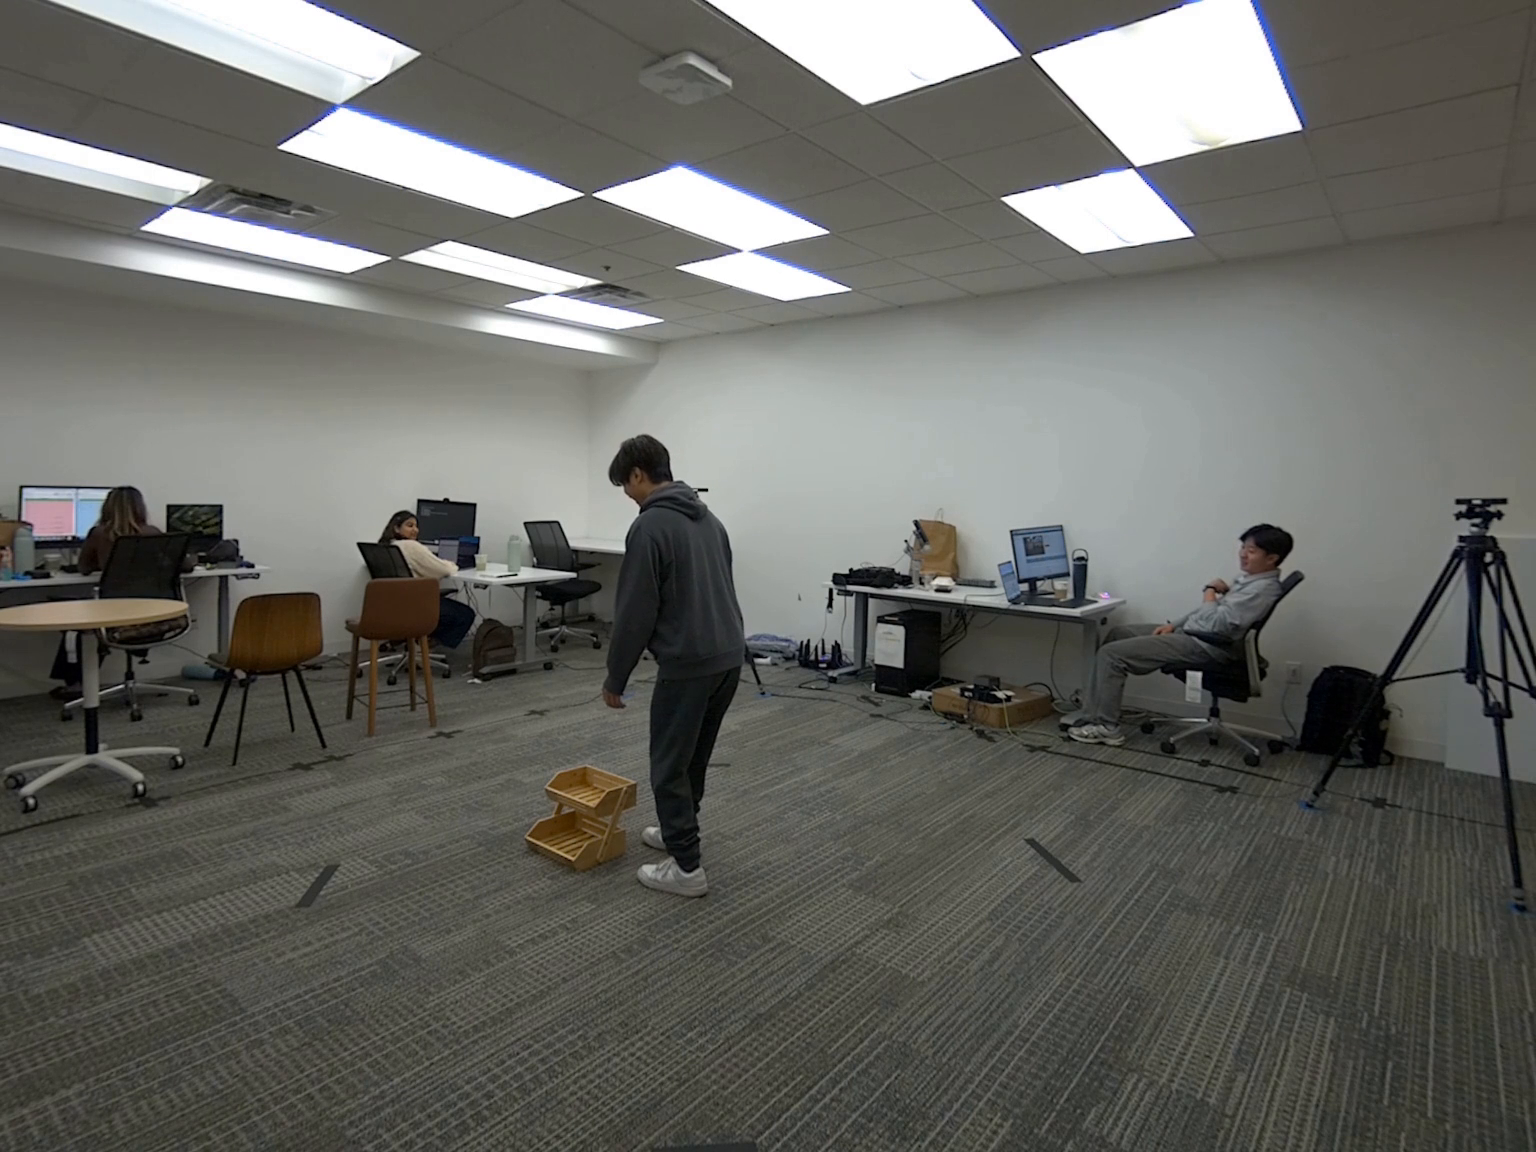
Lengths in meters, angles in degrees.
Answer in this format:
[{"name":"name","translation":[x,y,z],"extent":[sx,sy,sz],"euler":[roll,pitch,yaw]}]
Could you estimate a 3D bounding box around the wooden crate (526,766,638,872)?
[{"name":"wooden crate","translation":[-0.733,0.916,3.261],"extent":[0.335,0.272,0.293],"euler":[5,5,39]}]
